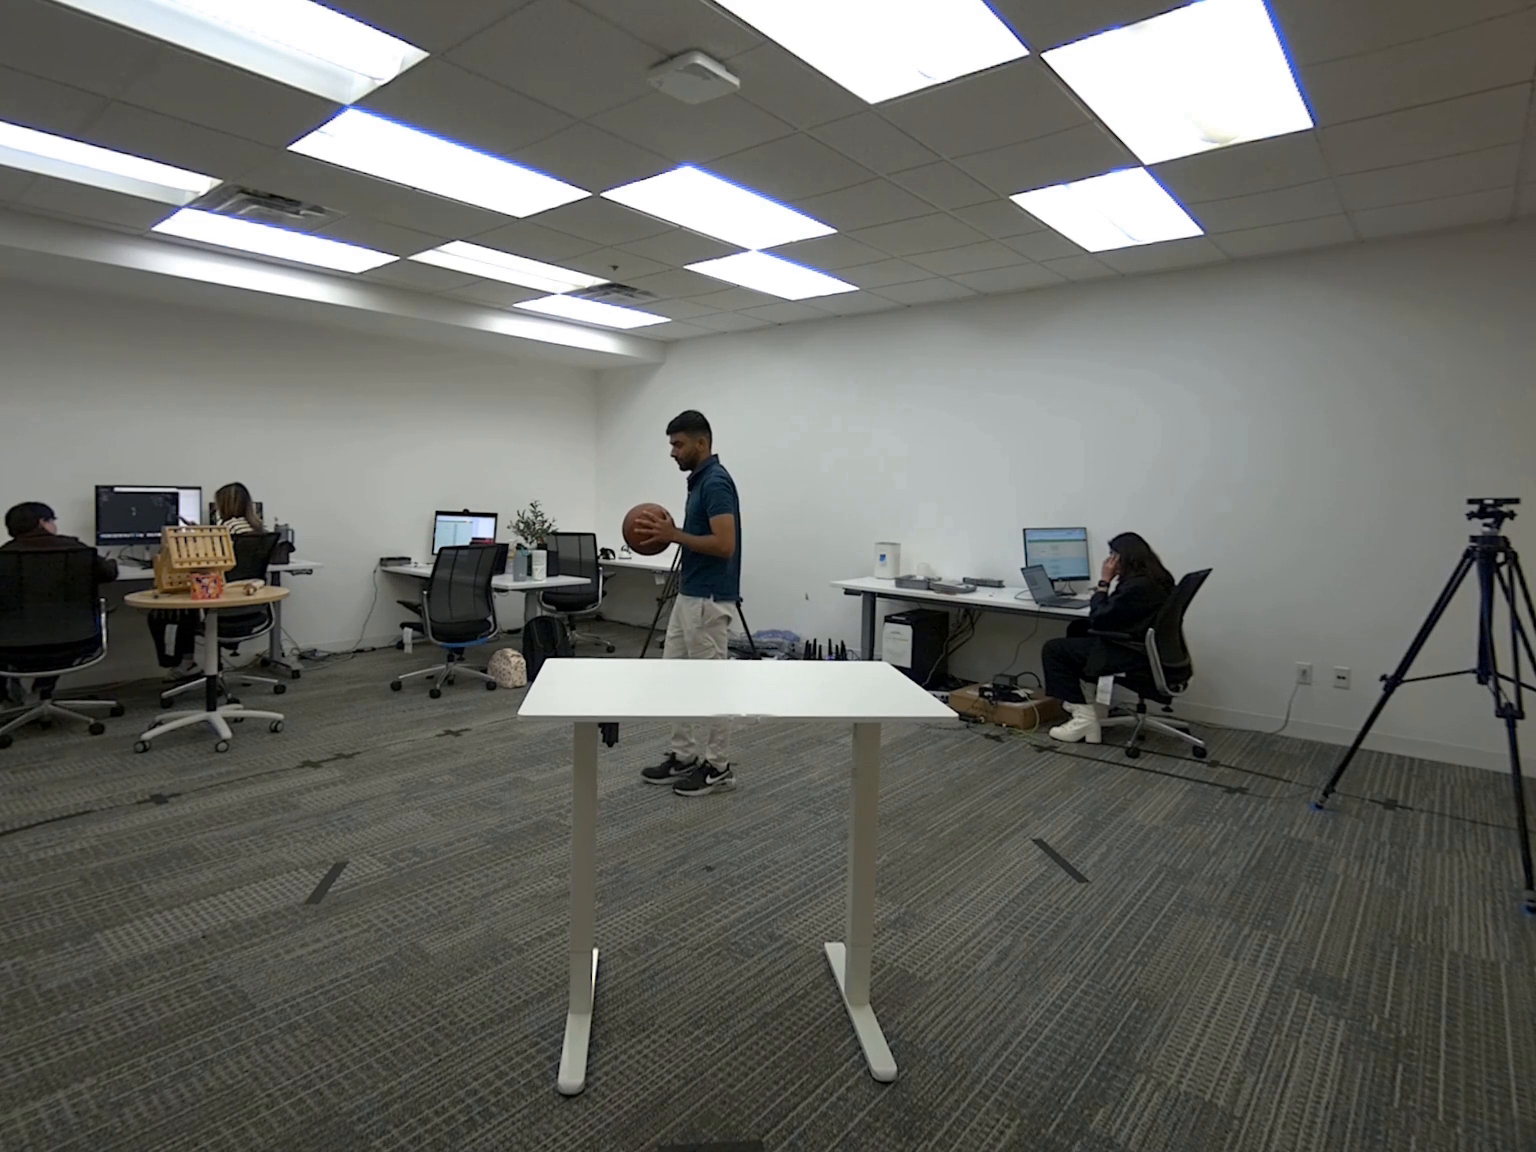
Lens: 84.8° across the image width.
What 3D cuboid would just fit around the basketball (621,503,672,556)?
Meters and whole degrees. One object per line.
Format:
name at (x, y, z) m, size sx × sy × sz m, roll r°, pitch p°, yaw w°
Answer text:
basketball at (-0.560, -0.216, 3.863) m, size 0.235 × 0.235 × 0.237 m, roll 1°, pitch 4°, yaw -2°
